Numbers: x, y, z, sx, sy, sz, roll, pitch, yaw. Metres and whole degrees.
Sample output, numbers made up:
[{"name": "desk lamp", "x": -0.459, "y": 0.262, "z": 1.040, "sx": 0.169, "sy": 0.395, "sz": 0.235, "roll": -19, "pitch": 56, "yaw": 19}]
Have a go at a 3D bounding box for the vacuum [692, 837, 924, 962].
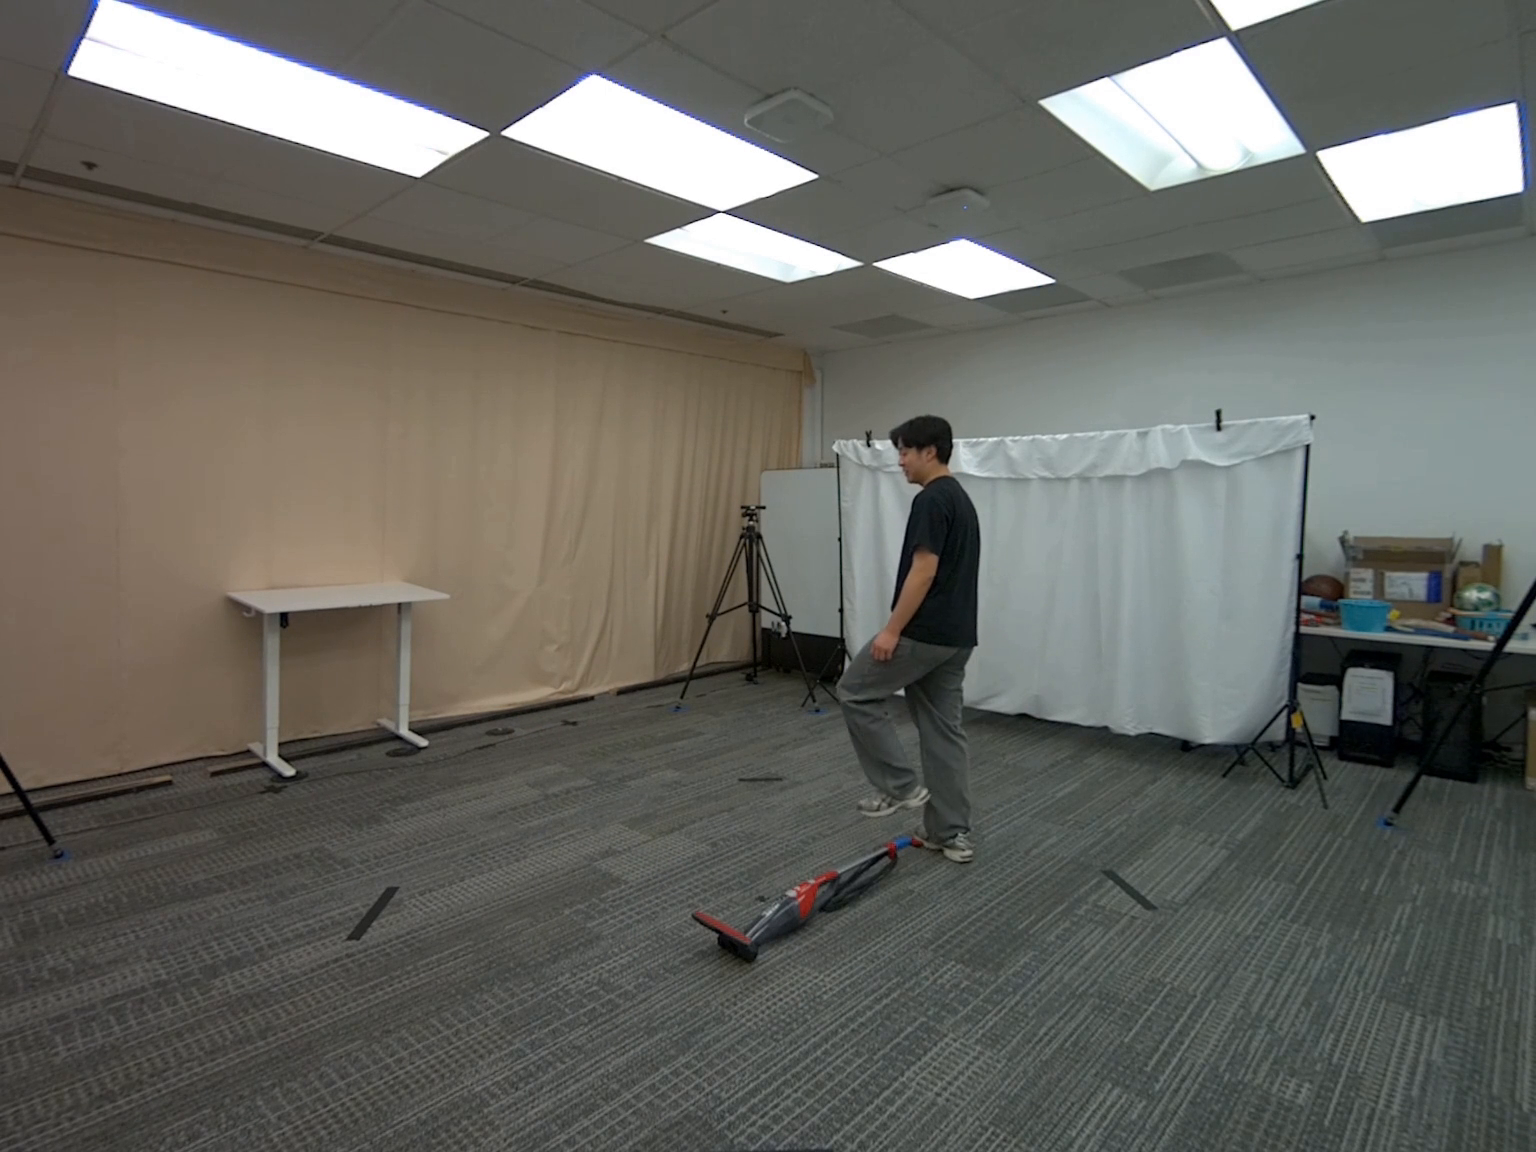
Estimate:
[{"name": "vacuum", "x": 0.235, "y": 1.093, "z": 2.930, "sx": 1.017, "sy": 0.143, "sz": 0.261, "roll": -4, "pitch": 6, "yaw": -44}]
